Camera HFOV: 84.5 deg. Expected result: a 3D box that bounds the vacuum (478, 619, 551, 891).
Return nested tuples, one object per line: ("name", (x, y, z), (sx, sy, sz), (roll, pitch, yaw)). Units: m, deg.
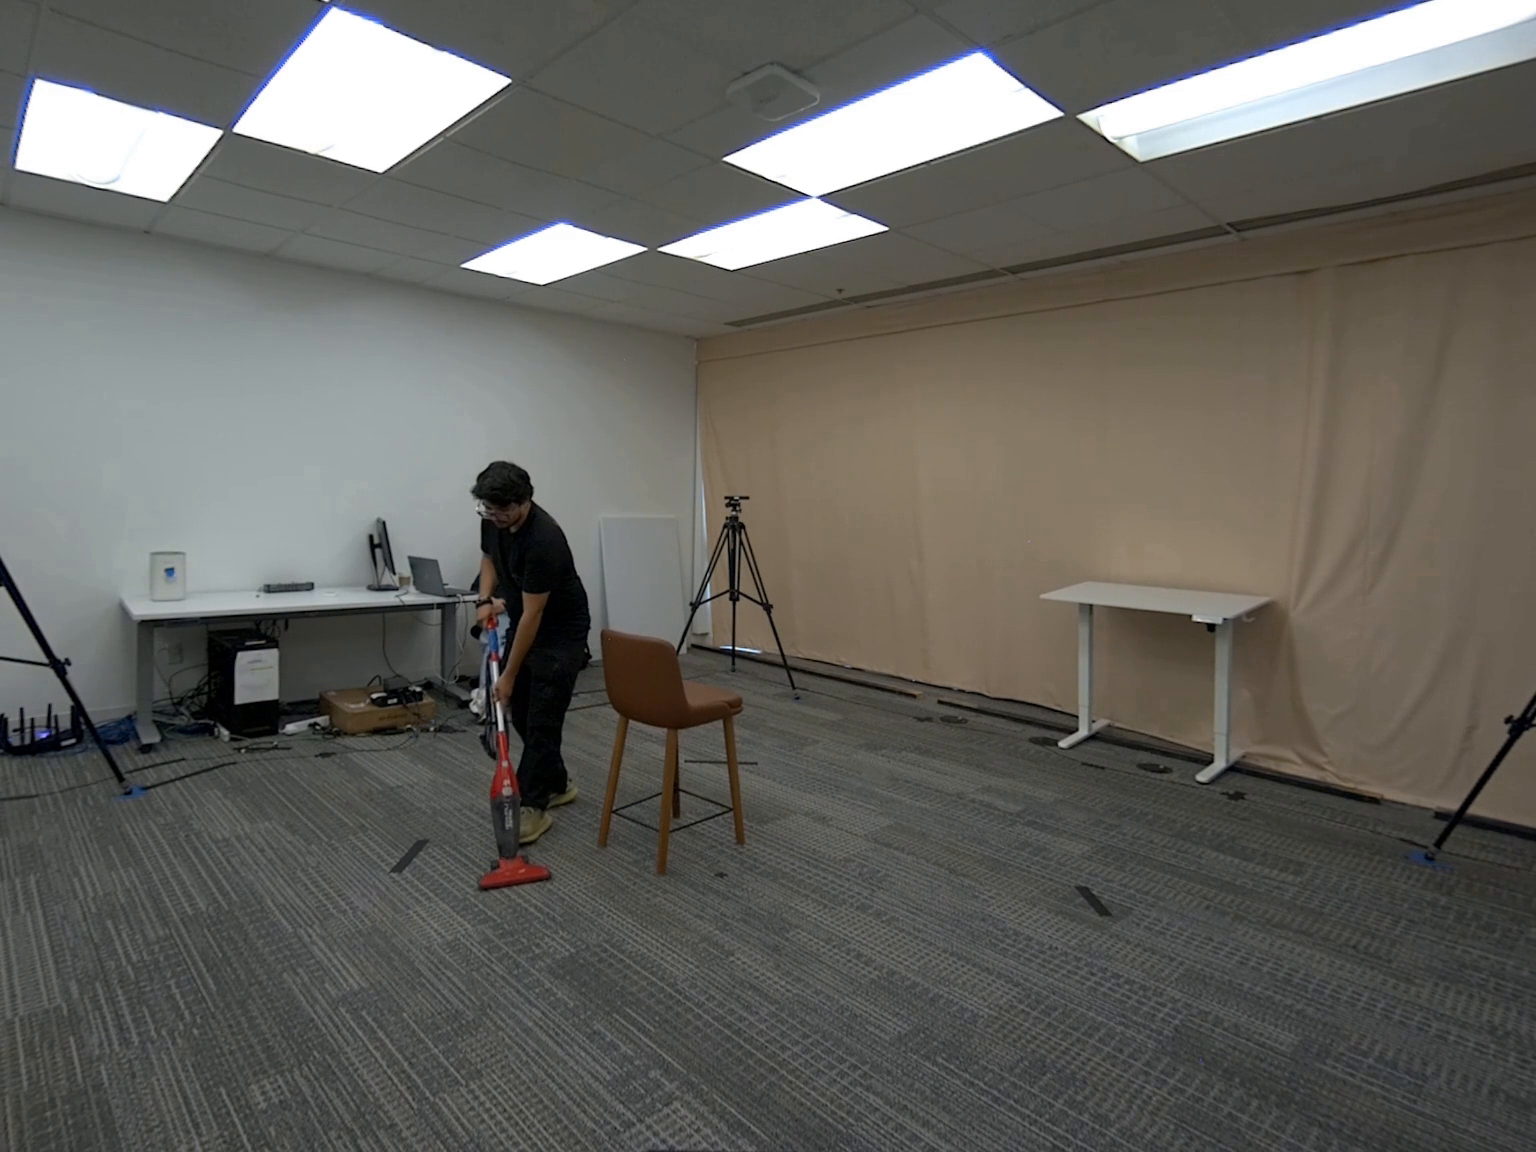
("vacuum", (-1.050, 0.641, 3.273), (0.247, 1.073, 0.144), (3, -32, -30))
